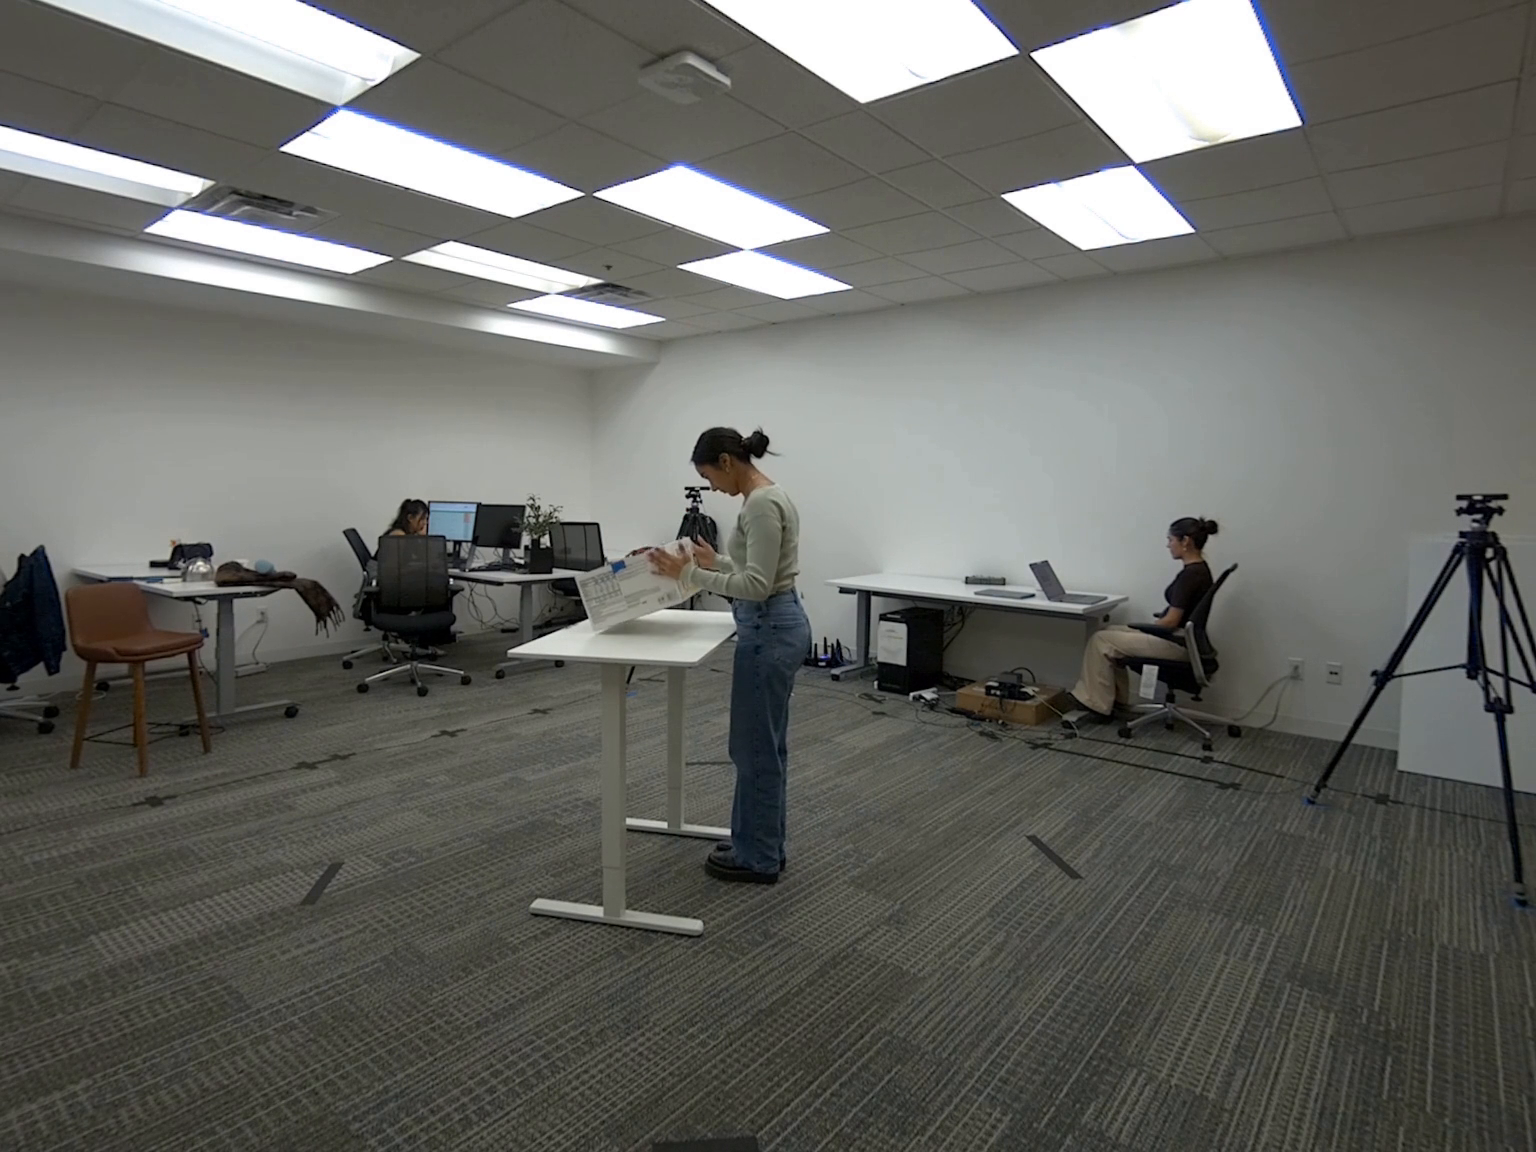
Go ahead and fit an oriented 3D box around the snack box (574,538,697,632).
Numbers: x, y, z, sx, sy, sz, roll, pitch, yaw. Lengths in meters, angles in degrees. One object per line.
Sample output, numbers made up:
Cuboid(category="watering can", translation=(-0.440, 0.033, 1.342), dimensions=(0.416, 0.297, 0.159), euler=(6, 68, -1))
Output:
Cuboid(category="snack box", translation=(-0.461, 0.009, 3.086), dimensions=(0.343, 0.205, 0.403), euler=(-18, 4, 10))
